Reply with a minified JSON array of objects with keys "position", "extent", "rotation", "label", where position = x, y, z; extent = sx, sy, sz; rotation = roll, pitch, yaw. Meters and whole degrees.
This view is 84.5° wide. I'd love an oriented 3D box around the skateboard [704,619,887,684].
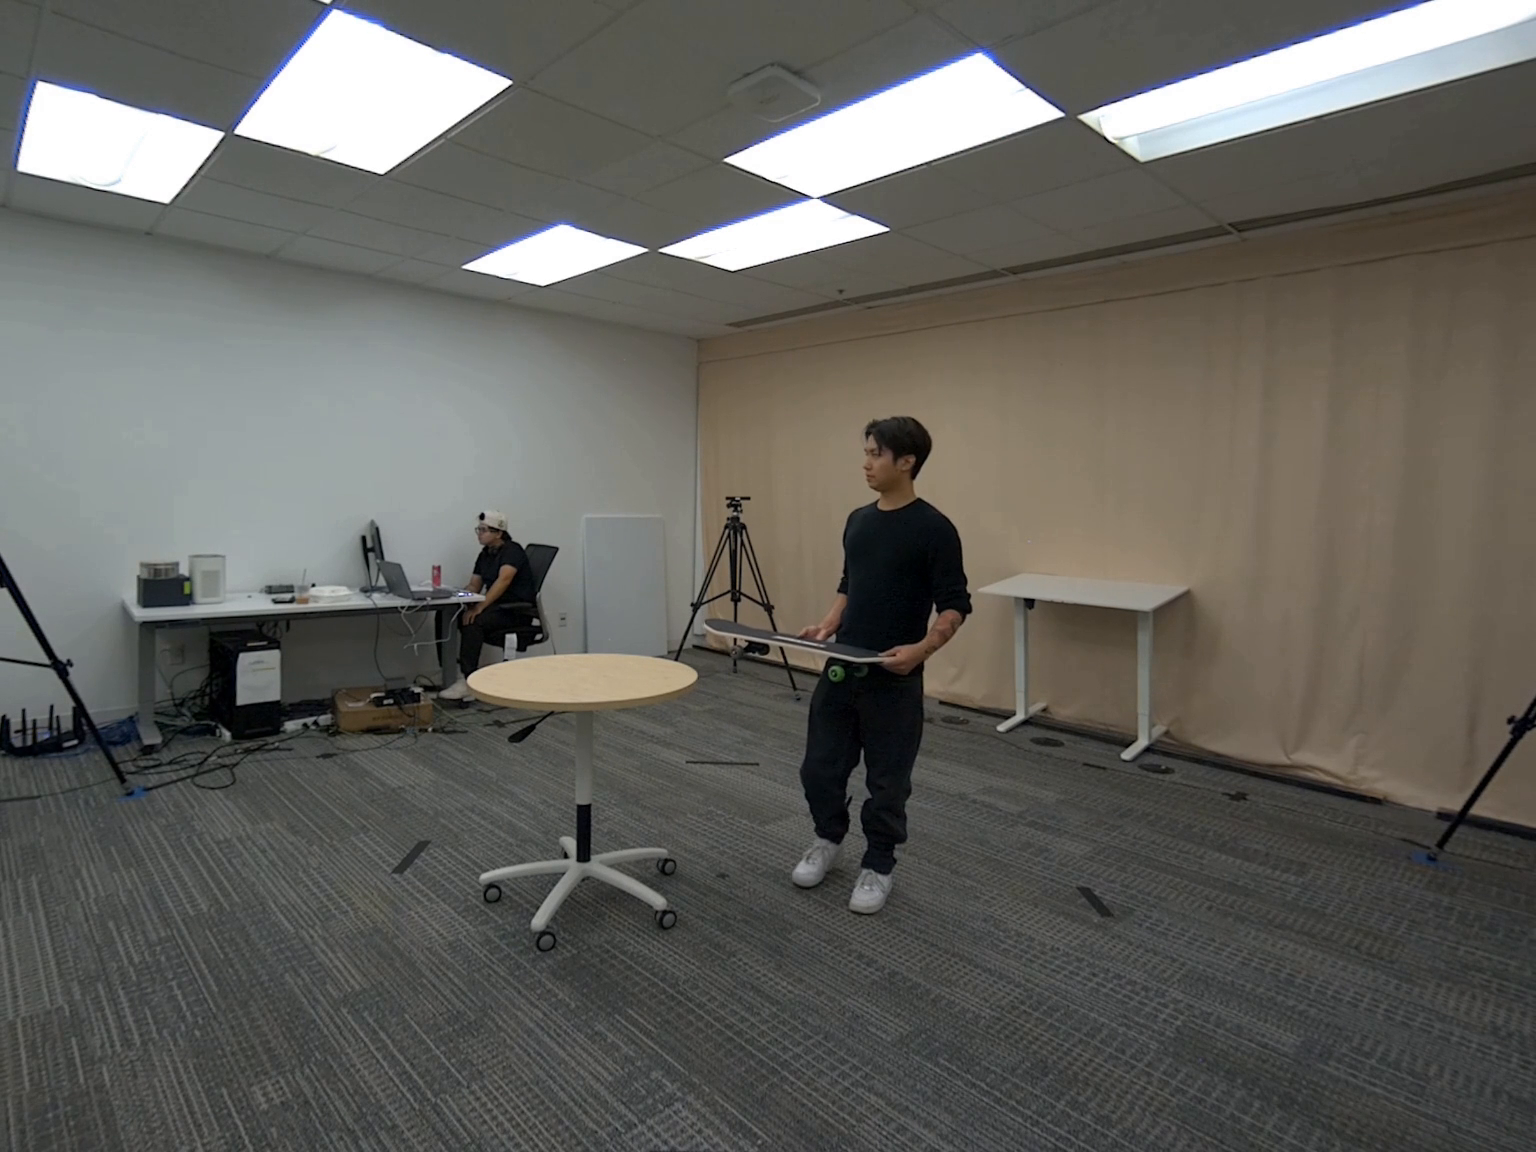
[{"position":[0.113,0.259,2.824],"extent":[0.806,0.110,0.189],"rotation":[9,6,39],"label":"skateboard"}]
